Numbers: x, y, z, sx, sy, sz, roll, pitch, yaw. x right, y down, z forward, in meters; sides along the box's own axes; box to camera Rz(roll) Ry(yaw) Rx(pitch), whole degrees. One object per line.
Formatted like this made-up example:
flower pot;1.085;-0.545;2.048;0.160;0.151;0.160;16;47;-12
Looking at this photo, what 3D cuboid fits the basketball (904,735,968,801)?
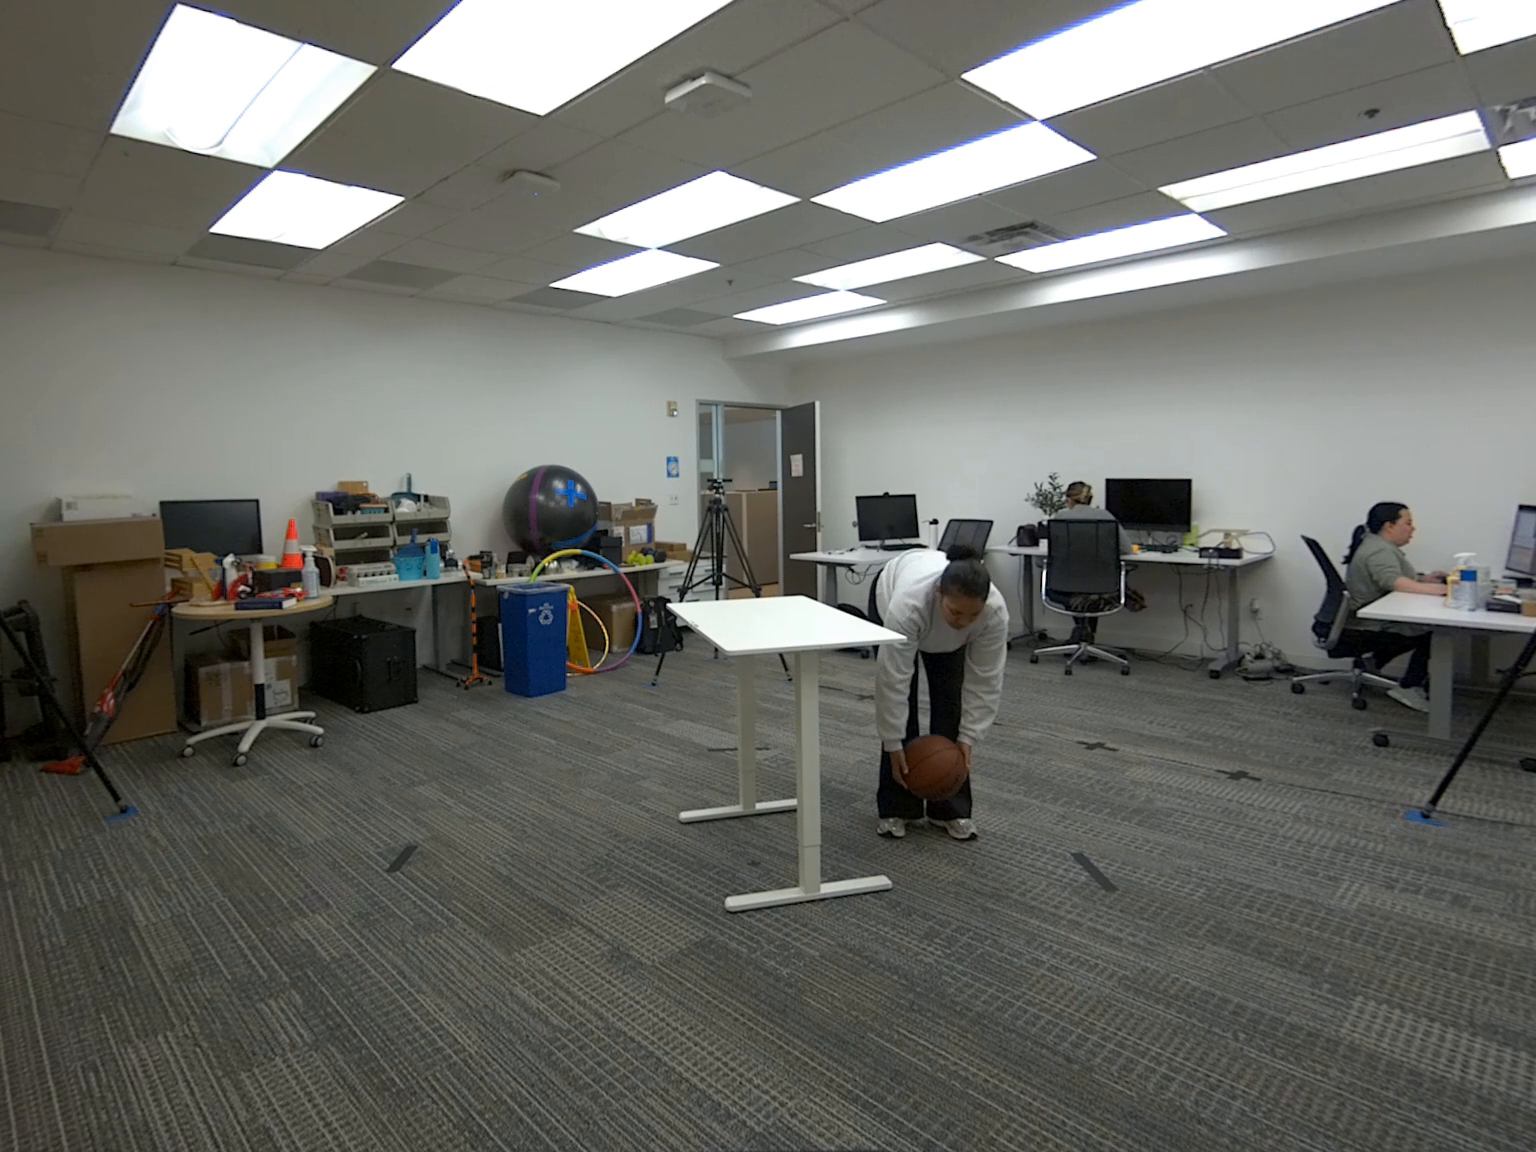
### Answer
basketball;0.613;0.700;3.167;0.236;0.235;0.237;-1;5;-2
